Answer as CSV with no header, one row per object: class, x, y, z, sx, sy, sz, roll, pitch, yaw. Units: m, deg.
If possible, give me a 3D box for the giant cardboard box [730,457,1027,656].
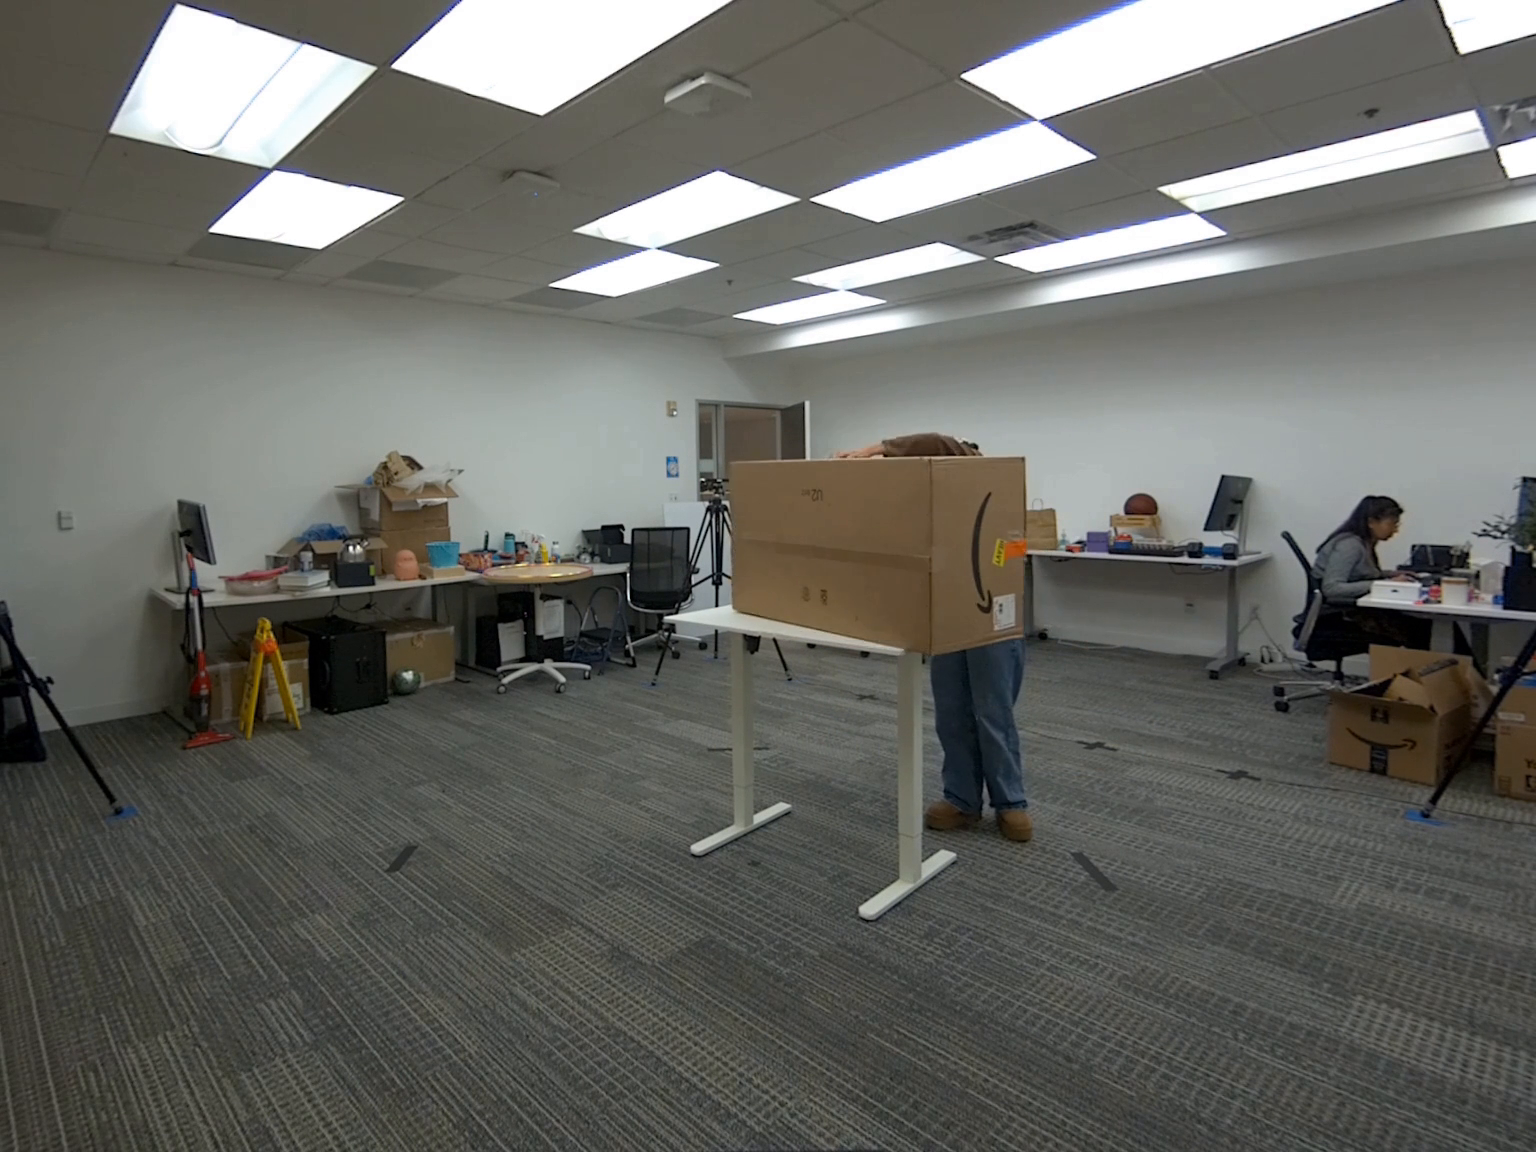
giant cardboard box,0.348,-0.127,2.976,0.415,0.575,1.057,-4,7,-35
